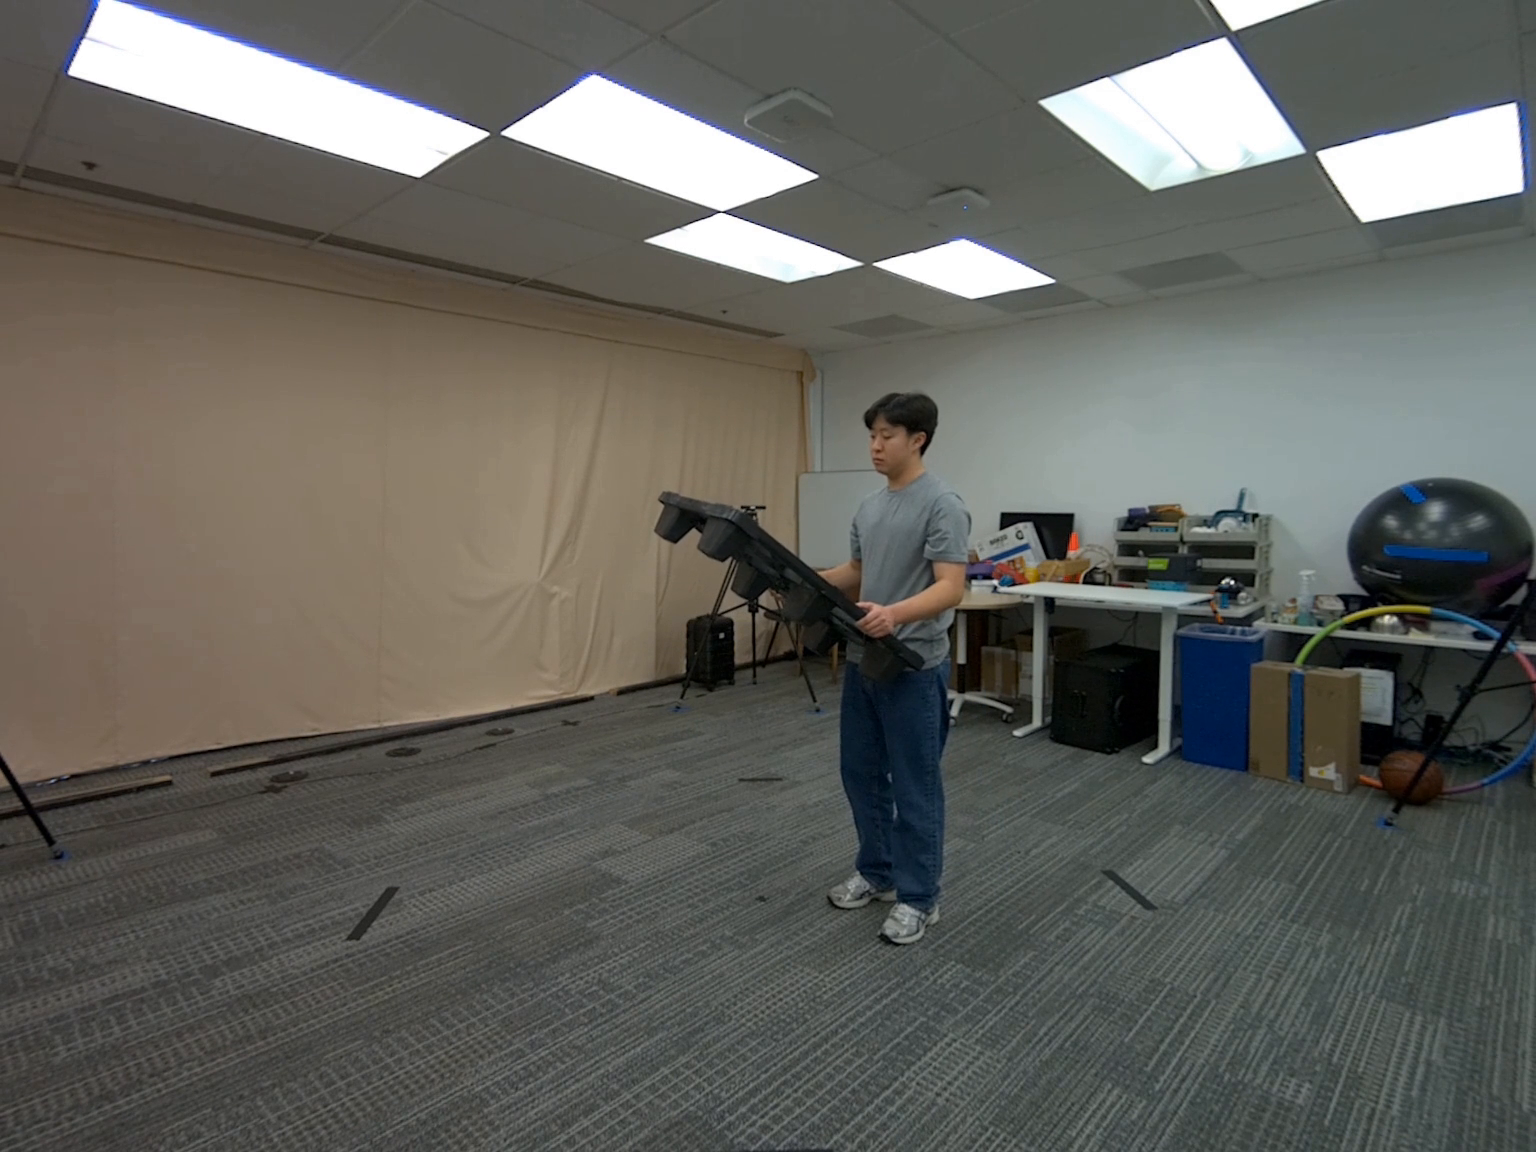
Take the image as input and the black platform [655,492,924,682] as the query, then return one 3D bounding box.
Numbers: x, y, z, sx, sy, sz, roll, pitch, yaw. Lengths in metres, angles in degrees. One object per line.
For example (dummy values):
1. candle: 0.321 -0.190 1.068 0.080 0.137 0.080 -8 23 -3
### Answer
1. black platform: 0.028 0.037 2.620 0.785 0.143 0.622 39 -8 -24
